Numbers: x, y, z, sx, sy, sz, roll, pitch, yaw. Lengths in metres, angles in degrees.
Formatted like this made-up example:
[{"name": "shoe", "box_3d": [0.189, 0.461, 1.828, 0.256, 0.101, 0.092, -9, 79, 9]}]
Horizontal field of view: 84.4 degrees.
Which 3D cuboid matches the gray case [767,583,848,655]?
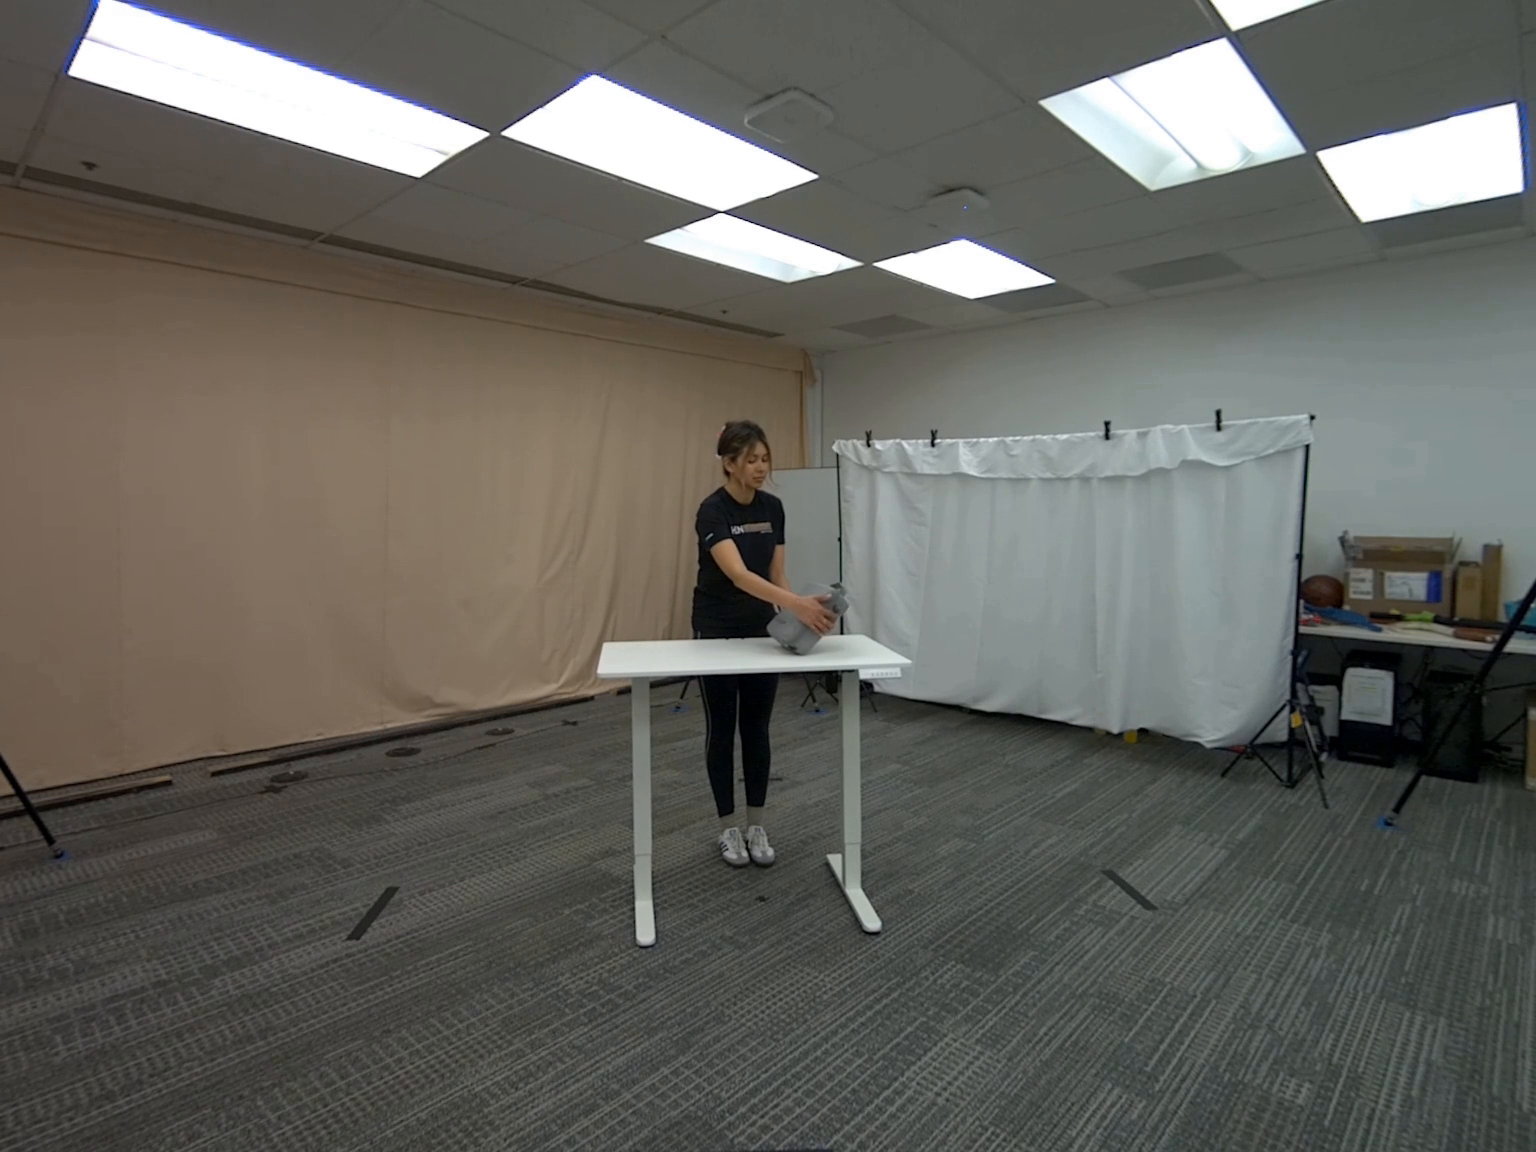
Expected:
[{"name": "gray case", "box_3d": [0.140, 0.145, 2.954, 0.260, 0.102, 0.262, -46, 15, -7]}]
